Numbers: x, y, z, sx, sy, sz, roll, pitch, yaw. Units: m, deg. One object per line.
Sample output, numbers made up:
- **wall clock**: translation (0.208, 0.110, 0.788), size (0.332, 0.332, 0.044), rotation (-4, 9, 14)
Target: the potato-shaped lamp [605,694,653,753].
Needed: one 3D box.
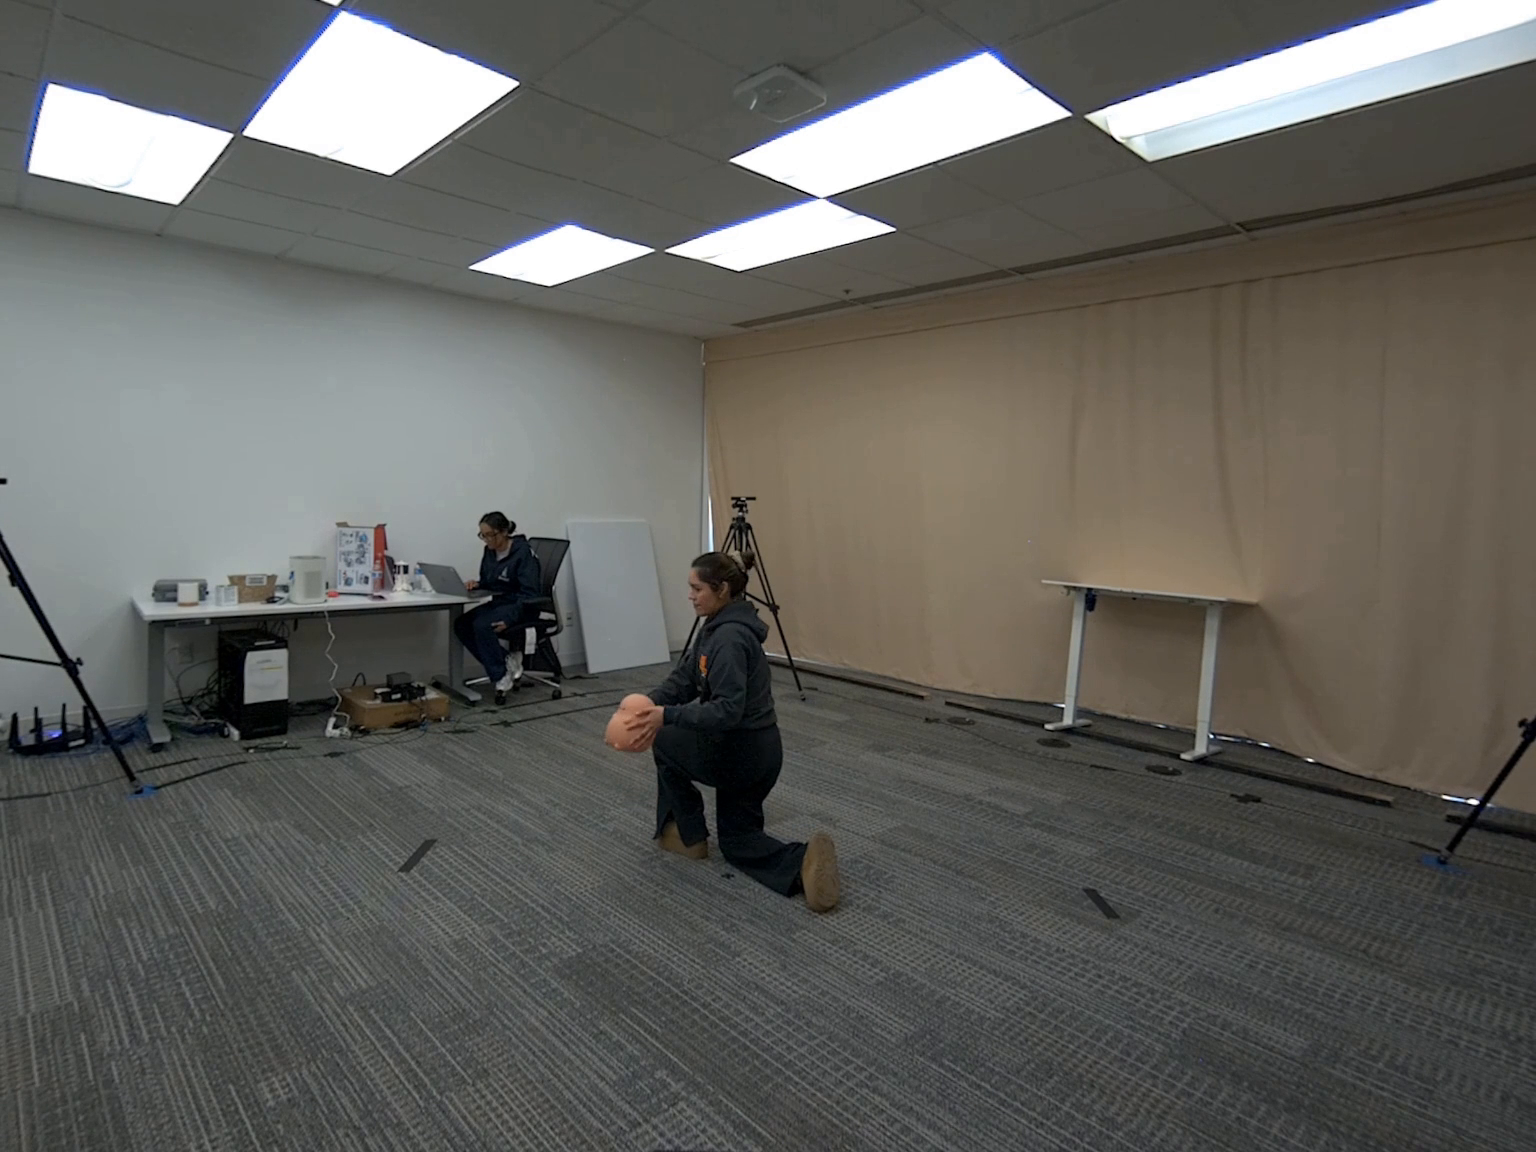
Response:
- **potato-shaped lamp**: translation (-0.471, 0.516, 2.967), size (0.168, 0.199, 0.167), rotation (16, -10, -25)
